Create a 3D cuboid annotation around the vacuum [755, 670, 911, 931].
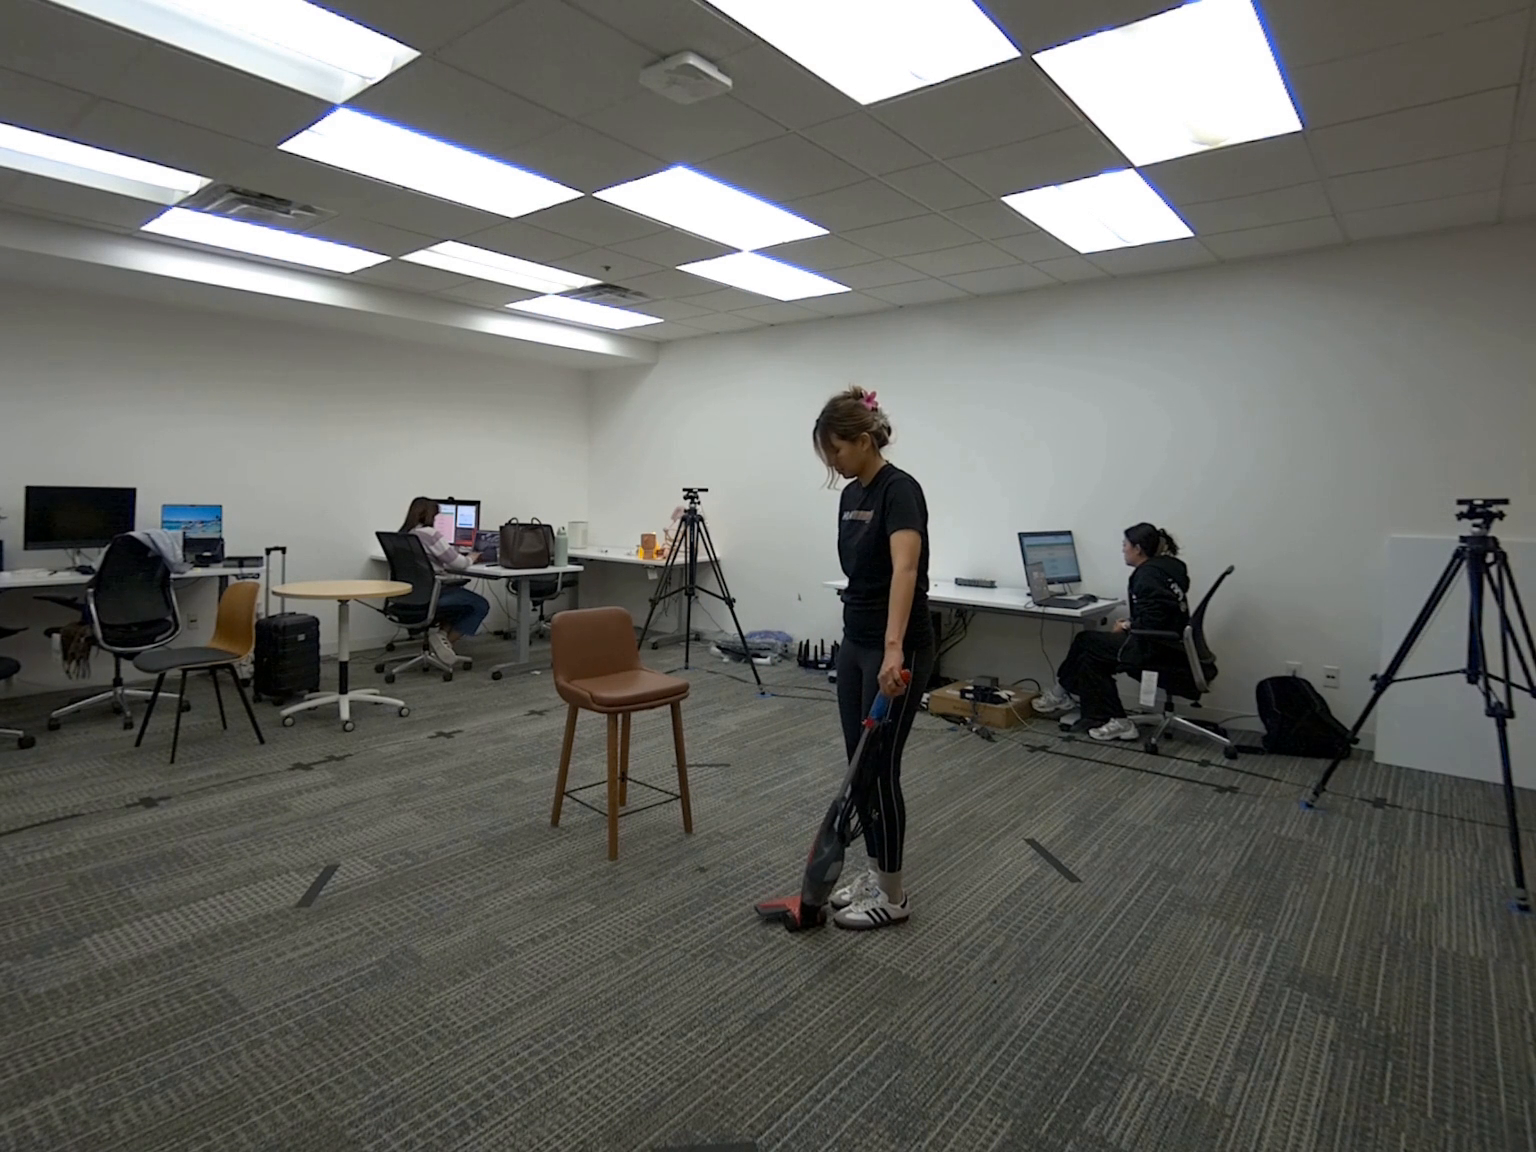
[{"bbox_3d":[0.215,0.683,2.484,0.246,1.032,0.150,-1,36,-27],"label":"vacuum"}]
